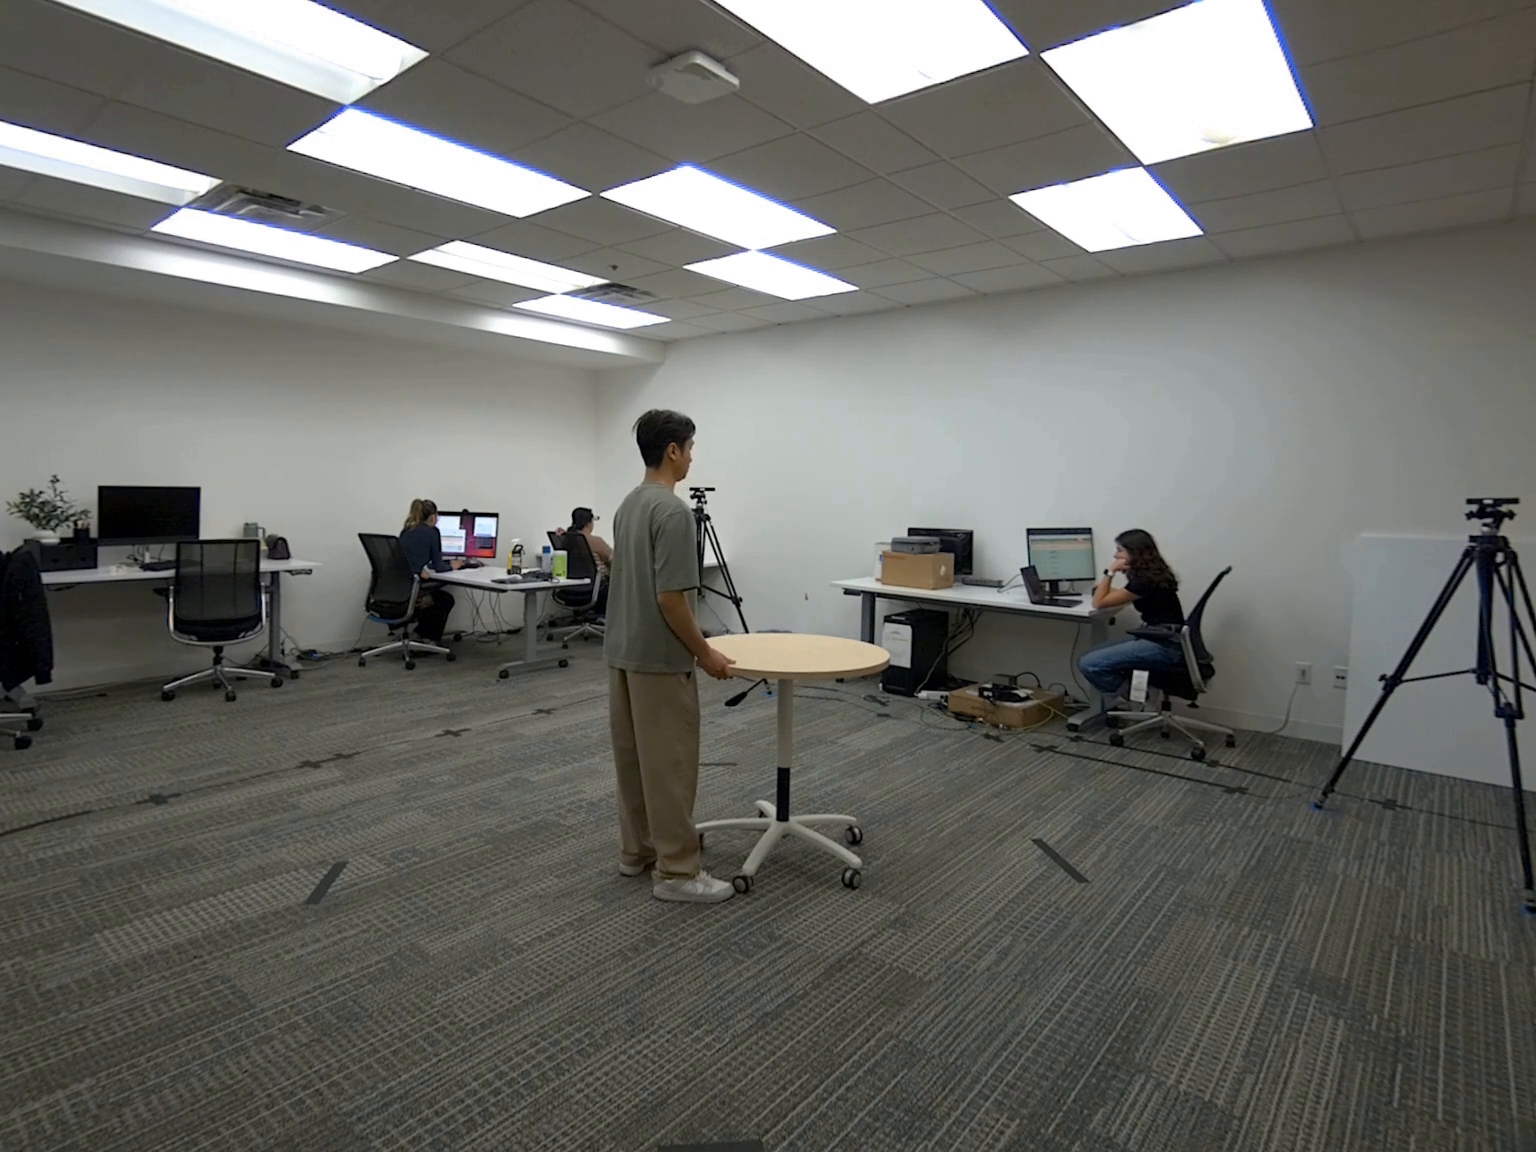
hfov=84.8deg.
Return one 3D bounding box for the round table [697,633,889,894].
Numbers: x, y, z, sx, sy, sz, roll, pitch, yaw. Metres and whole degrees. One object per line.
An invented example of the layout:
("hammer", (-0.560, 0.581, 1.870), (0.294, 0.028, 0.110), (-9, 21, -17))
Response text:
("round table", (0.072, 0.670, 3.211), (0.784, 0.783, 0.789), (0, 5, -2))
